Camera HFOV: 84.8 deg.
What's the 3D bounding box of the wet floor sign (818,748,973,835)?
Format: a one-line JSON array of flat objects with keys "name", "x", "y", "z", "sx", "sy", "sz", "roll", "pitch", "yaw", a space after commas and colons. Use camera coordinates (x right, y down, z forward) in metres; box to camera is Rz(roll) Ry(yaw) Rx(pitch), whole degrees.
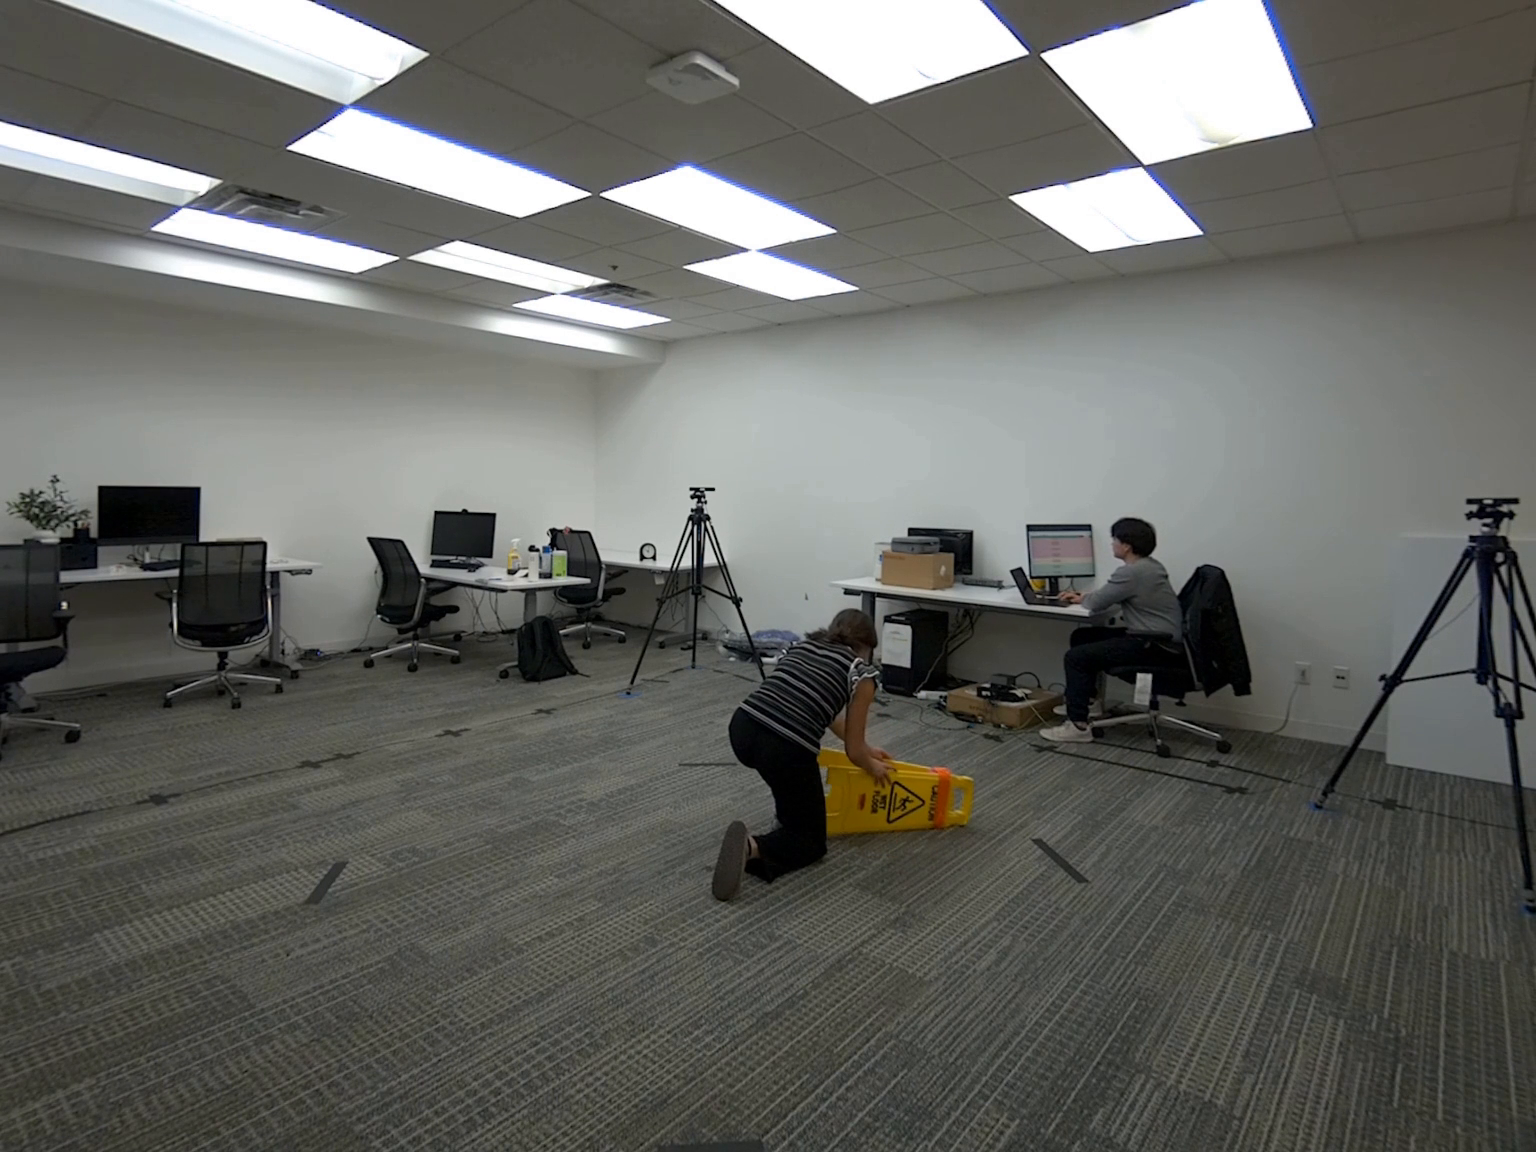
[{"name": "wet floor sign", "x": 0.529, "y": 0.910, "z": 3.538, "sx": 0.643, "sy": 0.280, "sz": 0.293, "roll": 6, "pitch": 8, "yaw": -4}]
